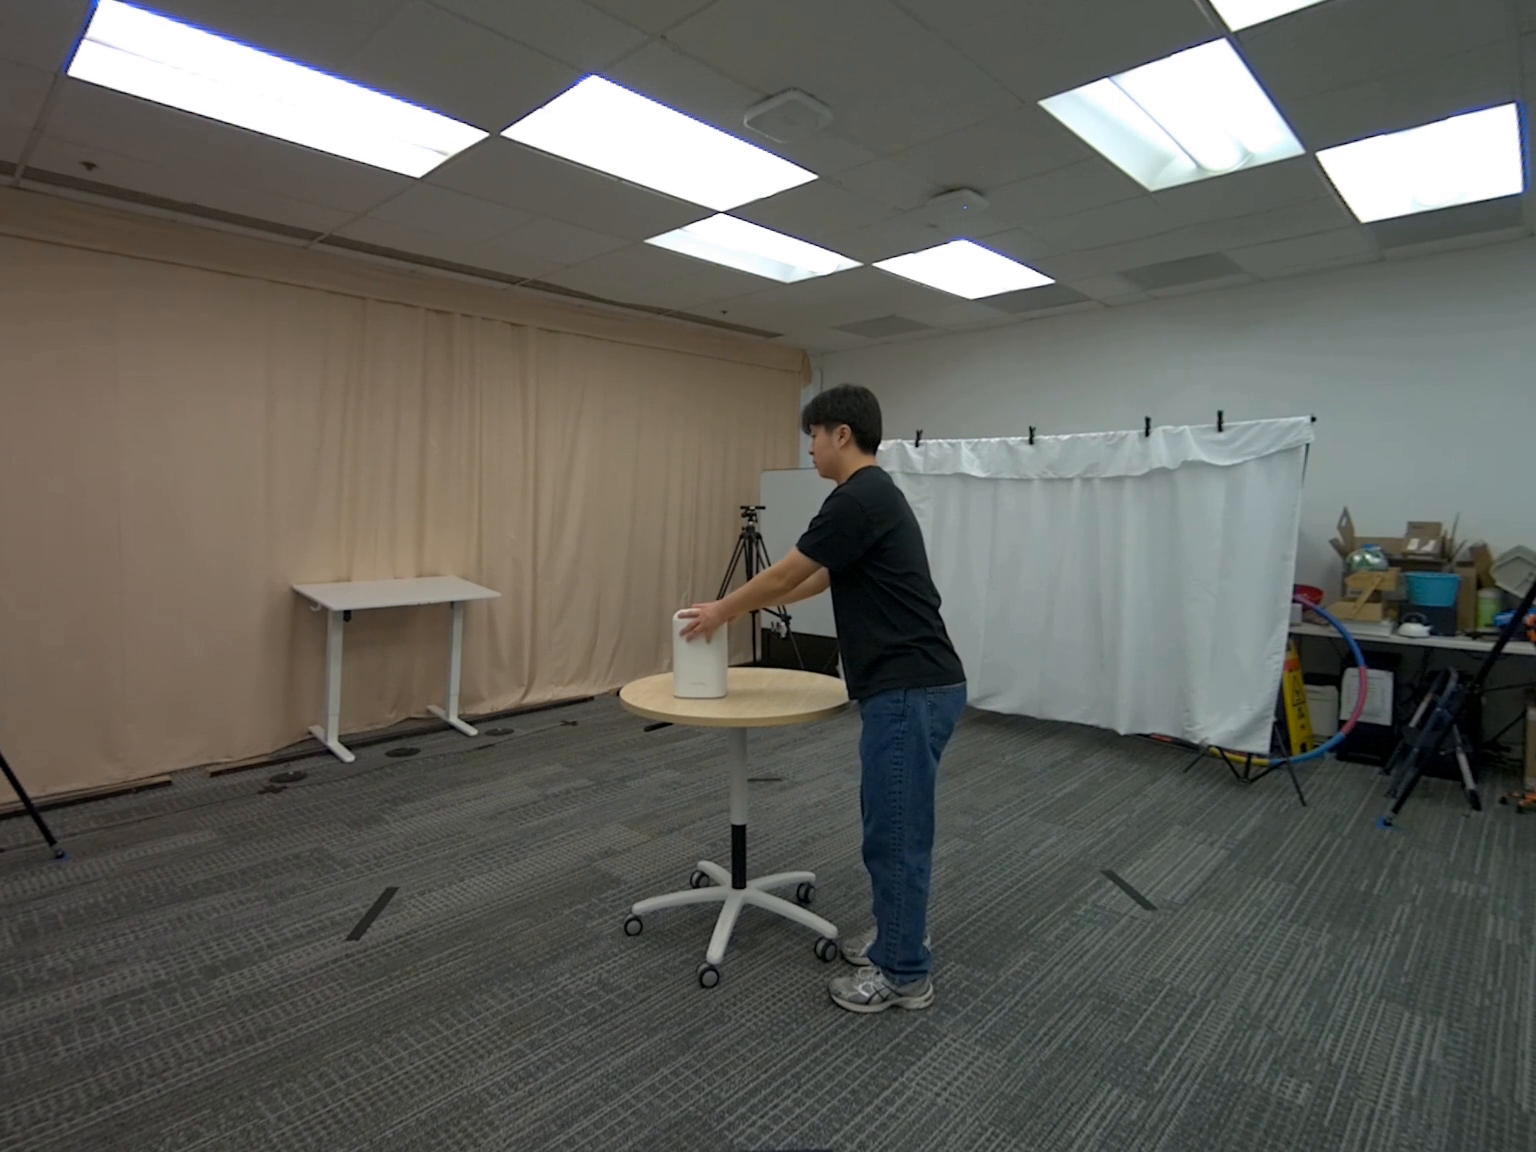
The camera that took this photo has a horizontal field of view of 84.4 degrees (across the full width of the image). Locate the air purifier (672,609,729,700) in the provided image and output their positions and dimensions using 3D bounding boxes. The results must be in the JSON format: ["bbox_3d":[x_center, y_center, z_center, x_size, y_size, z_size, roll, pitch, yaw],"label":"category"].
[{"bbox_3d":[-0.207,0.244,2.676,0.172,0.265,0.171,2,2,3],"label":"air purifier"}]
